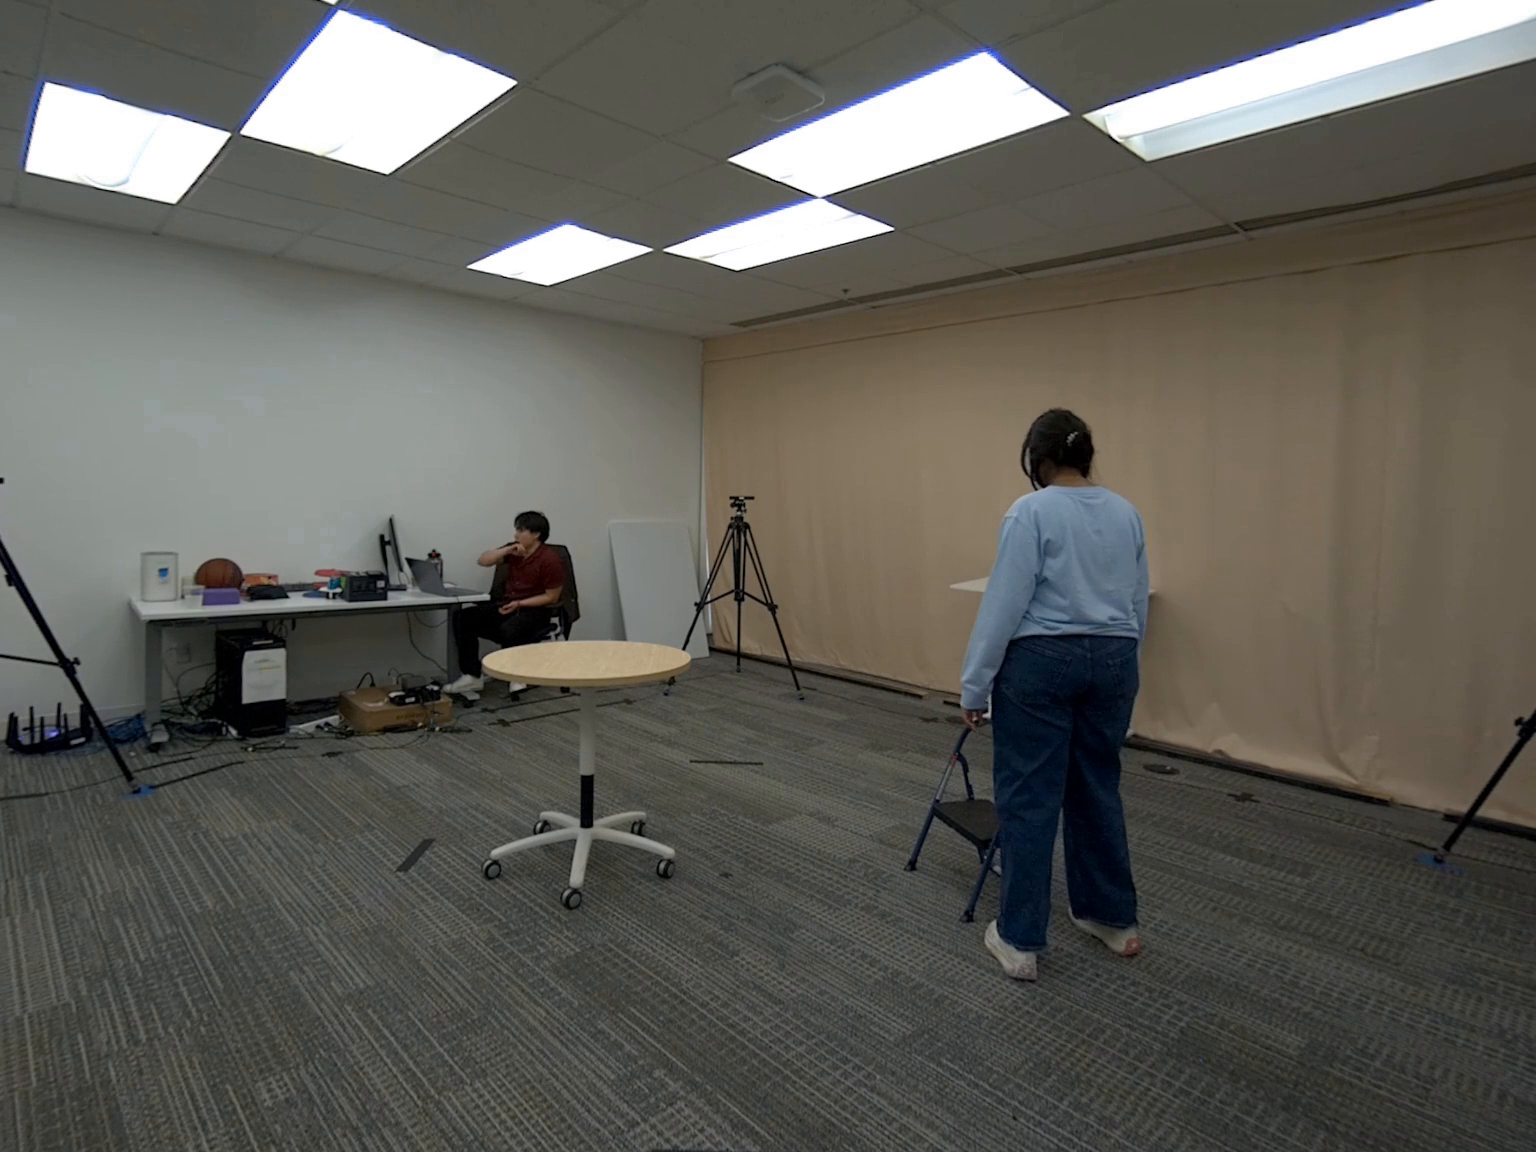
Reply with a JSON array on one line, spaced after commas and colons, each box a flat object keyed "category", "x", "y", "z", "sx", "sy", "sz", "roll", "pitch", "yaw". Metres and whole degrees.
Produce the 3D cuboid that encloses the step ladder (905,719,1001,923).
[{"category": "step ladder", "x": 0.750, "y": 0.833, "z": 3.029, "sx": 0.344, "sy": 0.604, "sz": 0.438, "roll": 1, "pitch": 5, "yaw": -18}]
